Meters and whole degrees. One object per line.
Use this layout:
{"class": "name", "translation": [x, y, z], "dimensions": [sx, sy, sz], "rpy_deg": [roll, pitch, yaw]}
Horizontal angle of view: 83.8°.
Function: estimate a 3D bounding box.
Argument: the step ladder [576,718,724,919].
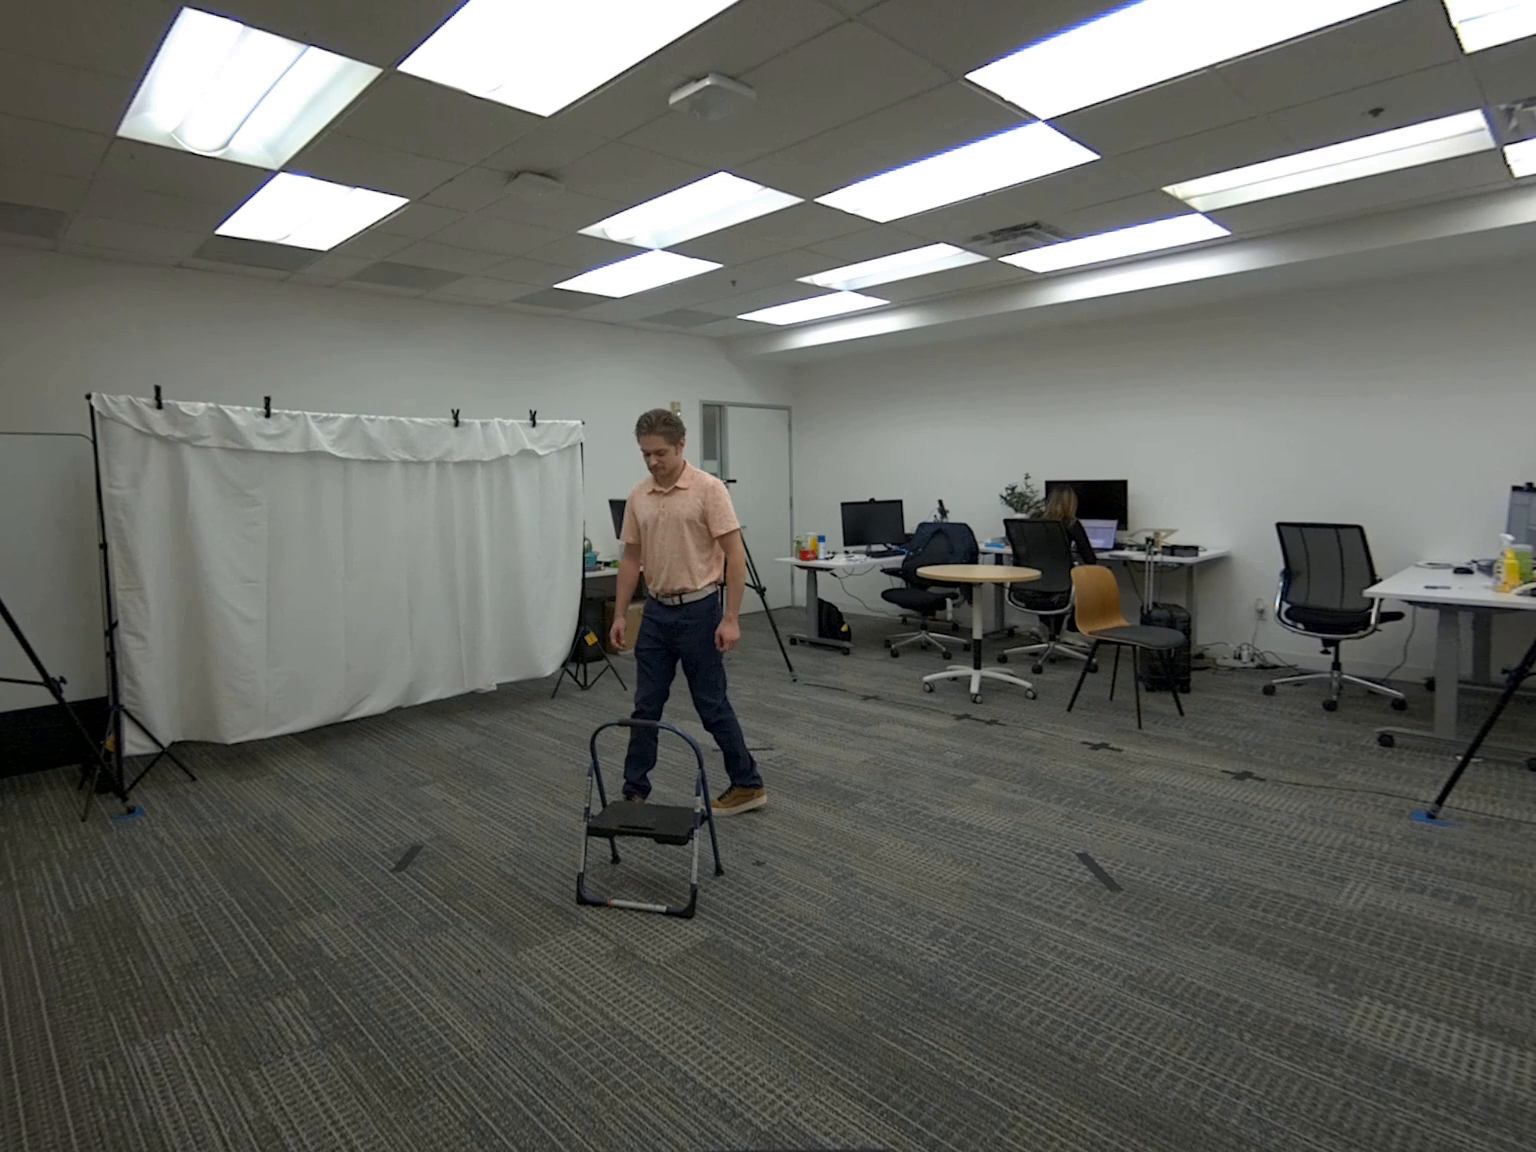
{"class": "step ladder", "translation": [-0.408, 0.776, 2.920], "dimensions": [0.437, 0.603, 0.345], "rpy_deg": [0, 5, 15]}
